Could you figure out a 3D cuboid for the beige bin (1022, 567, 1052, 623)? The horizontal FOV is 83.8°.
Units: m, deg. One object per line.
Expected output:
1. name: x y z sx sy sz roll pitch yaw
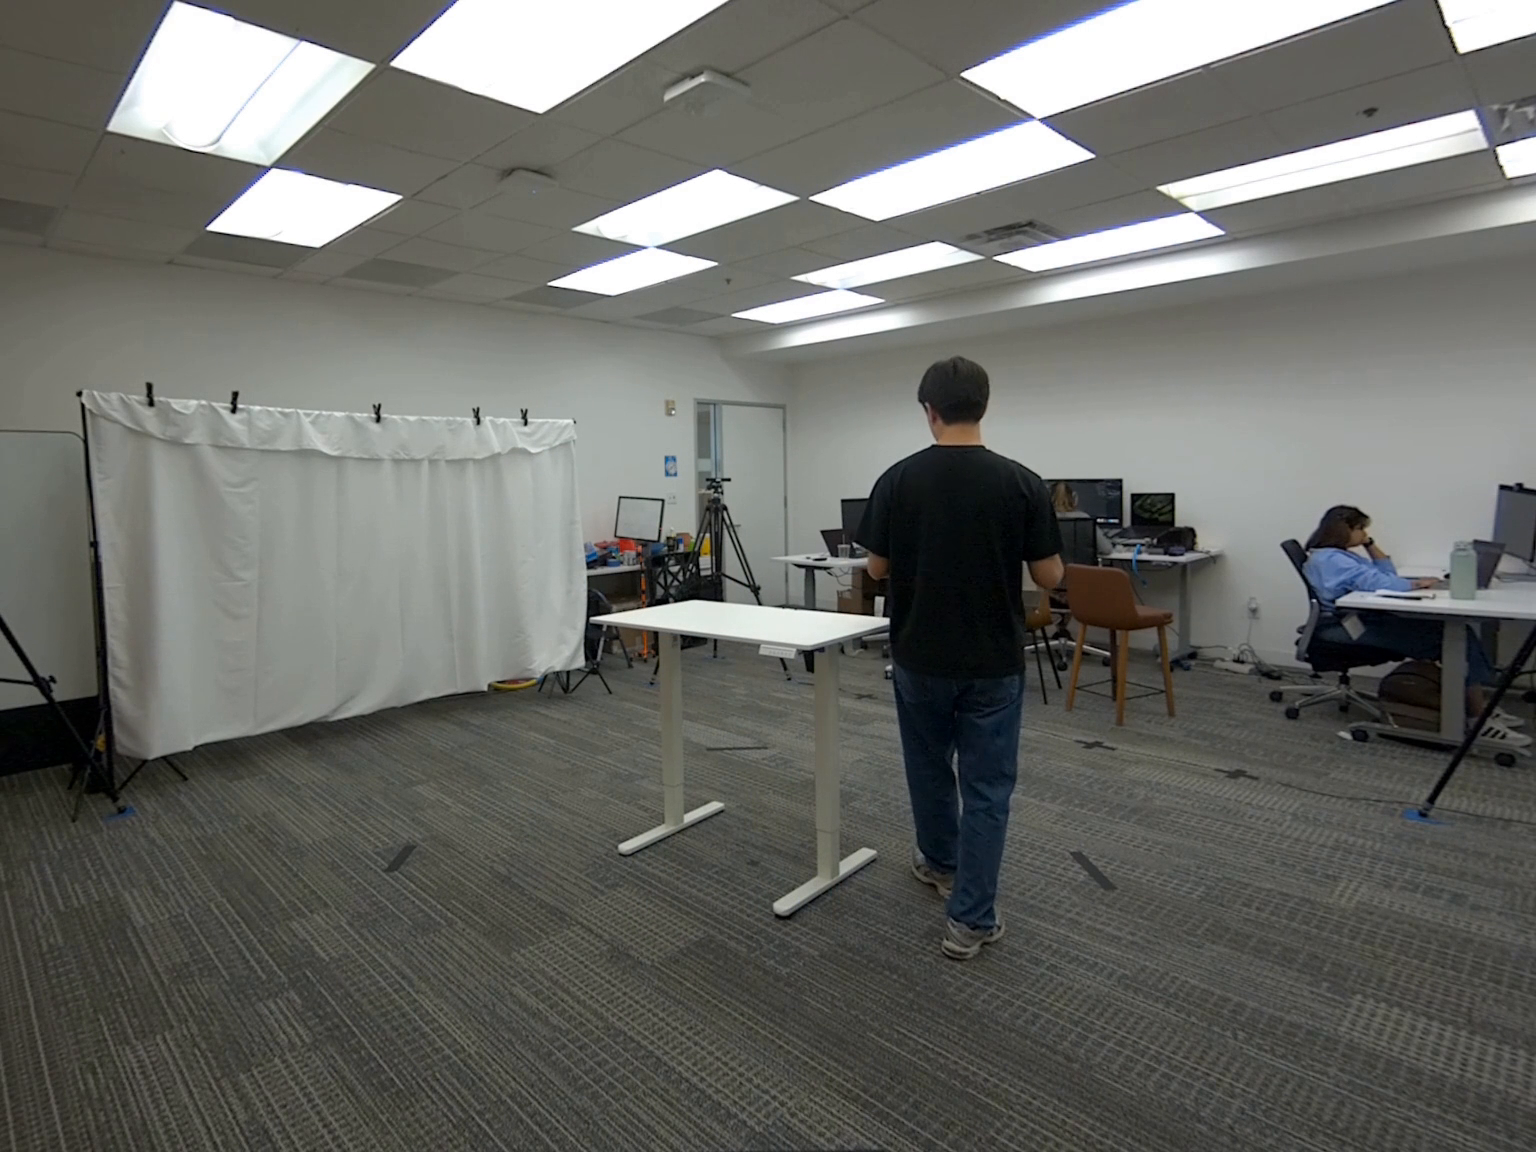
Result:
1. beige bin: 0.713 -0.005 2.943 0.426 0.187 0.377 1 9 7
